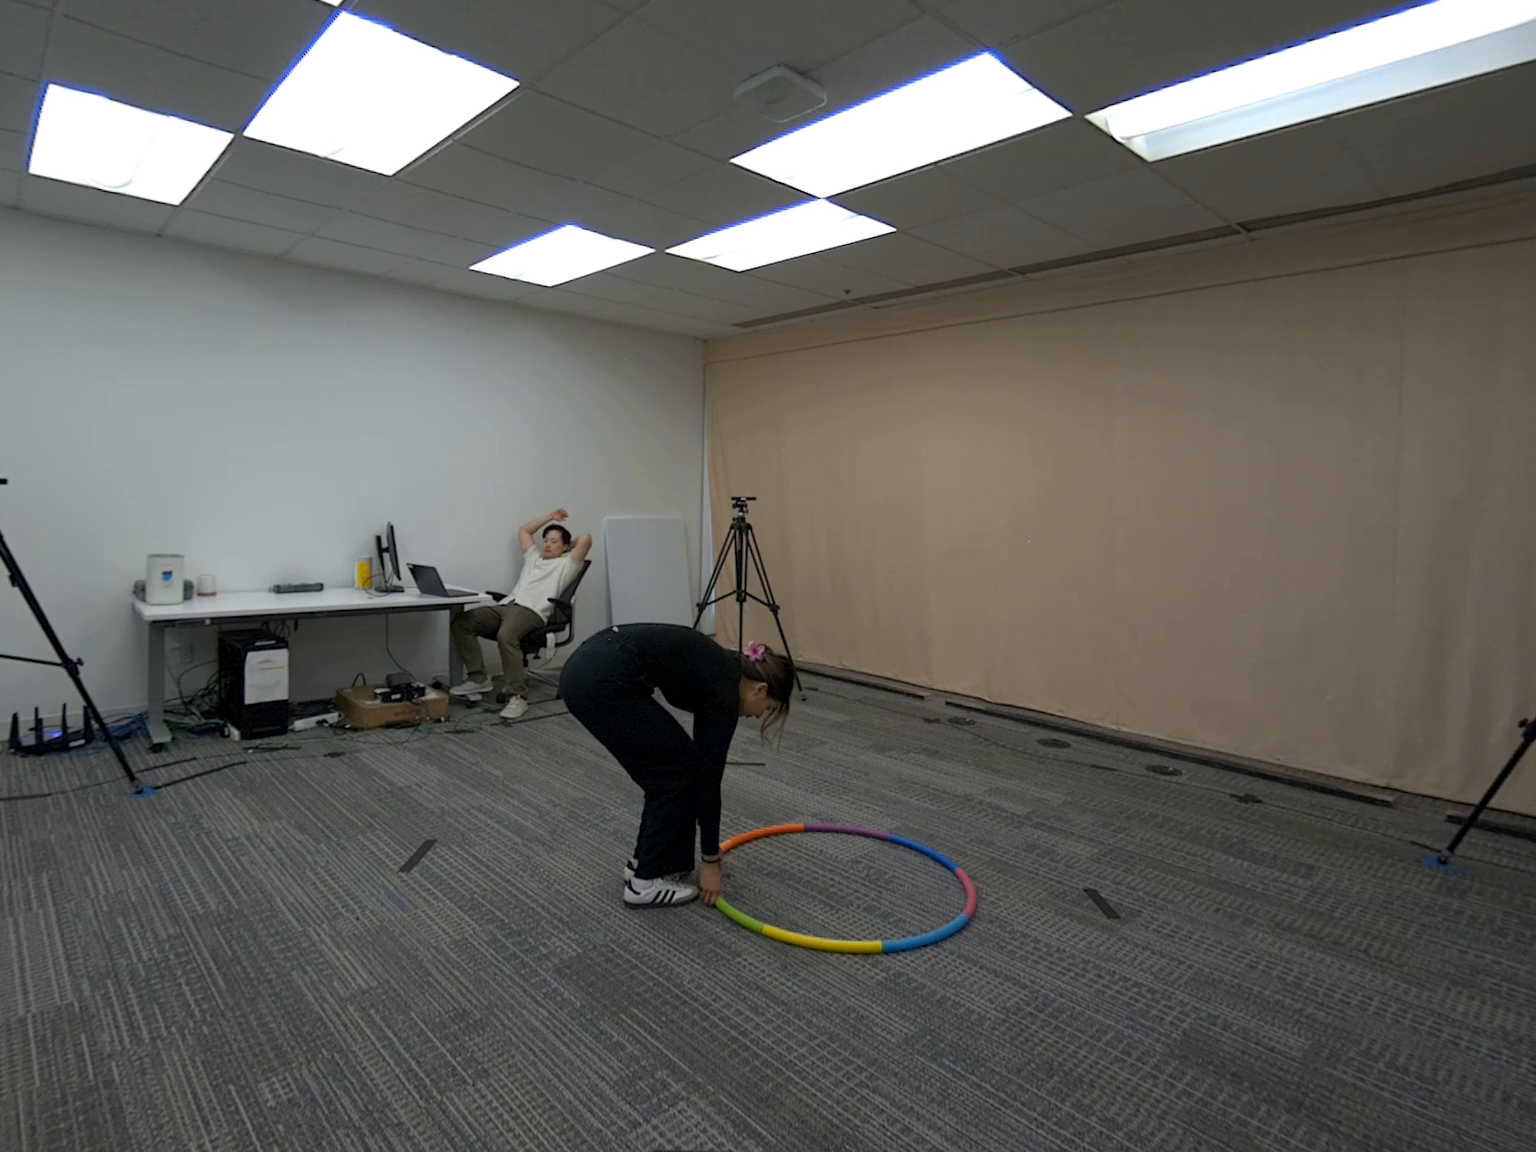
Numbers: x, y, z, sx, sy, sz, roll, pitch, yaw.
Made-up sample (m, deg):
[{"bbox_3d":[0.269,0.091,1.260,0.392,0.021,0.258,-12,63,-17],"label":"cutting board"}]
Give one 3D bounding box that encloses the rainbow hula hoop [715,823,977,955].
[{"bbox_3d":[0.241,1.087,3.071,0.978,0.035,0.982,1,5,-1],"label":"rainbow hula hoop"}]
